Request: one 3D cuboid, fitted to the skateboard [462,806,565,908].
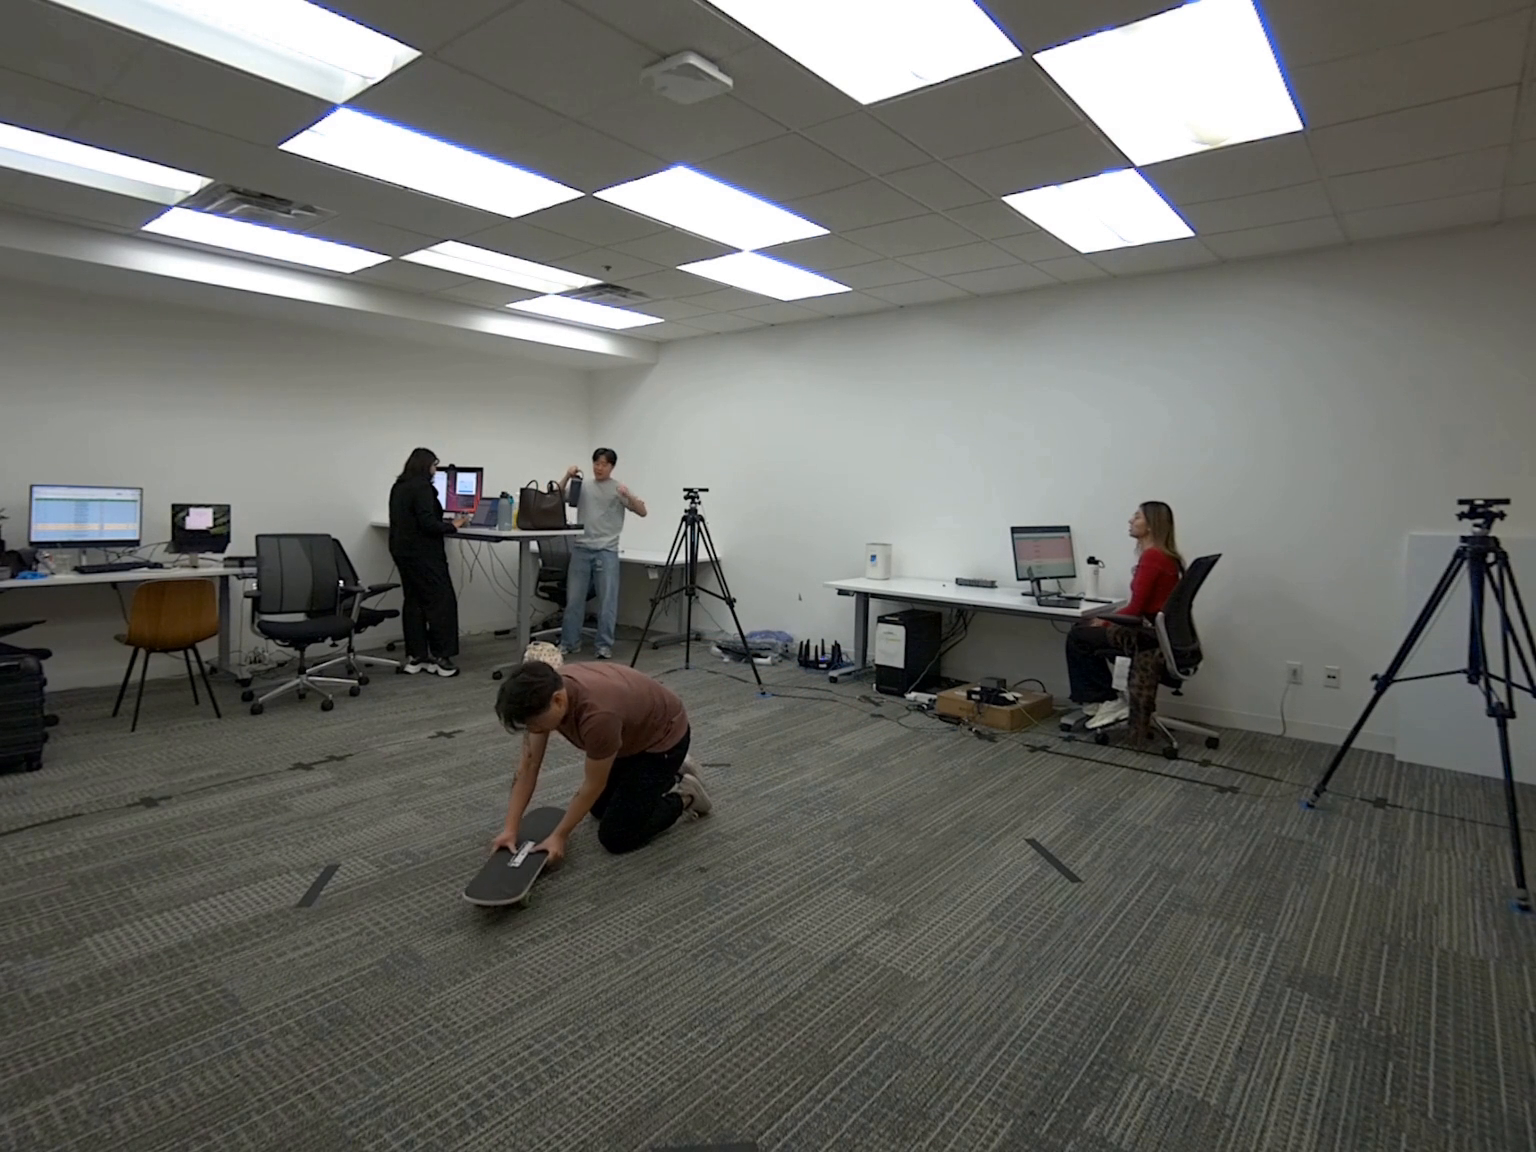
[{"bbox_3d":[-0.879,1.015,3.007,0.194,0.110,0.785,3,5,1],"label":"skateboard"}]
